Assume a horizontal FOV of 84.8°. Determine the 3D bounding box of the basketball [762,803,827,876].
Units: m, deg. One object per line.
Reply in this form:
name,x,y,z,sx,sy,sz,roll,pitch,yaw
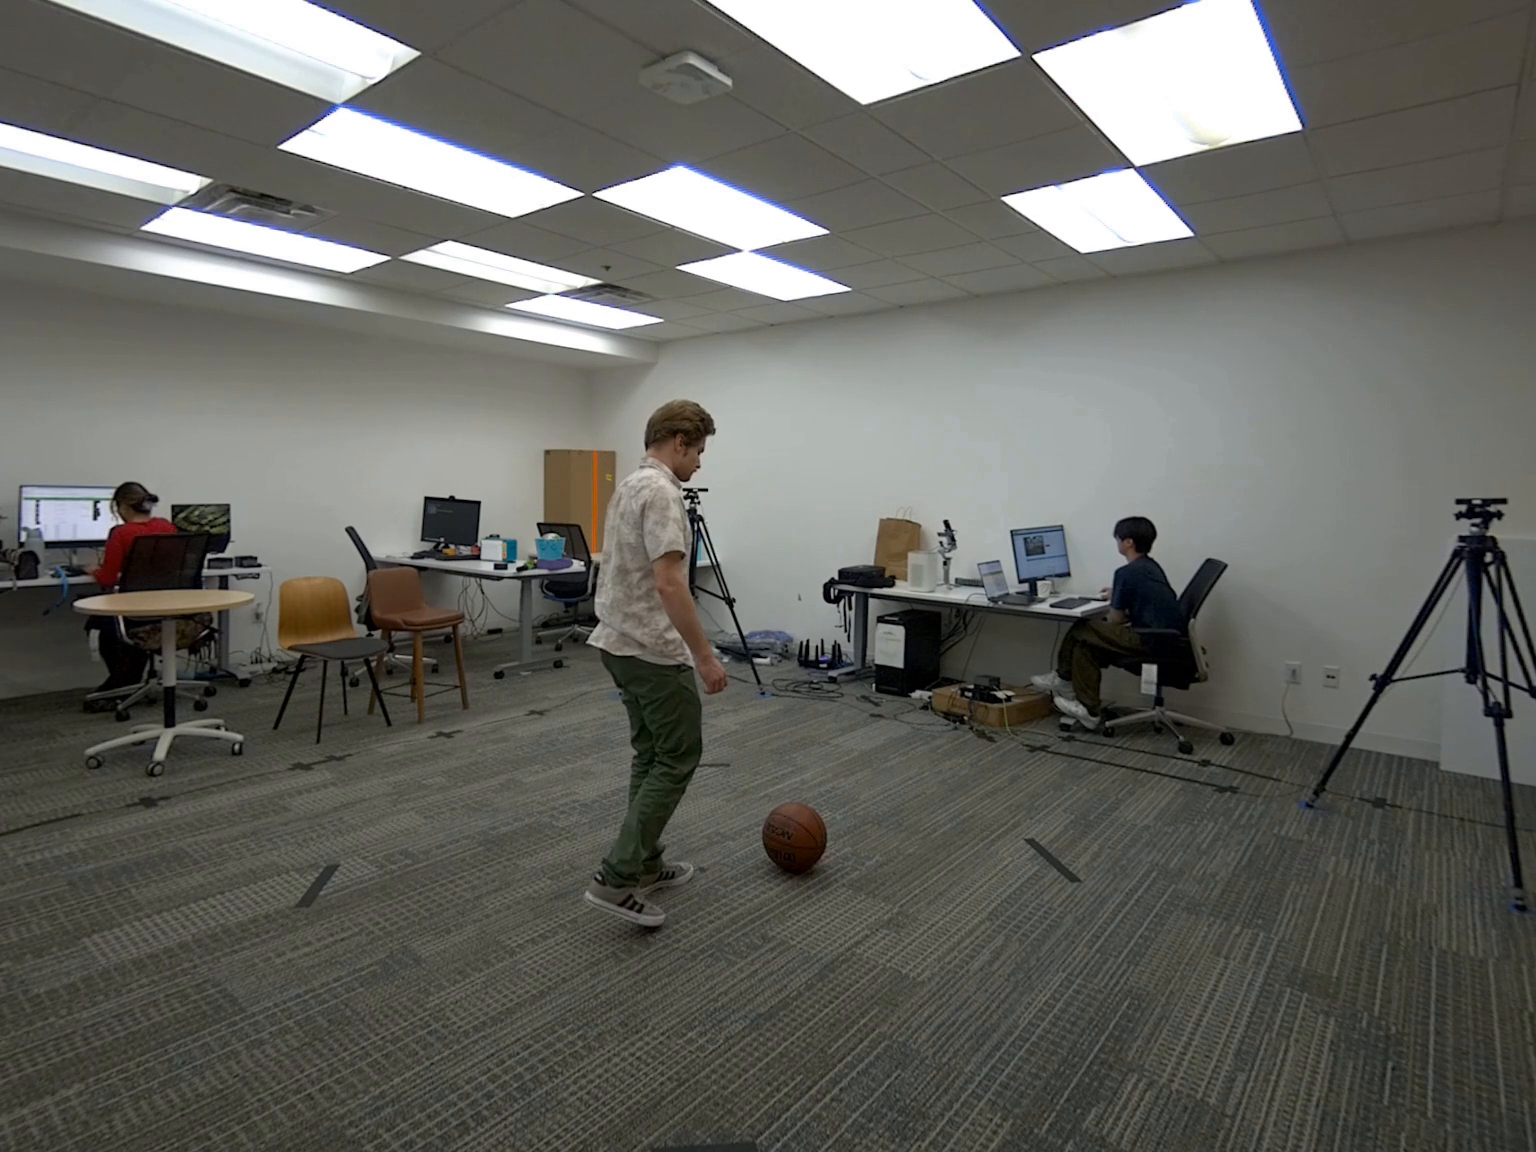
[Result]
basketball,0.090,0.950,3.132,0.235,0.235,0.237,1,4,-2
